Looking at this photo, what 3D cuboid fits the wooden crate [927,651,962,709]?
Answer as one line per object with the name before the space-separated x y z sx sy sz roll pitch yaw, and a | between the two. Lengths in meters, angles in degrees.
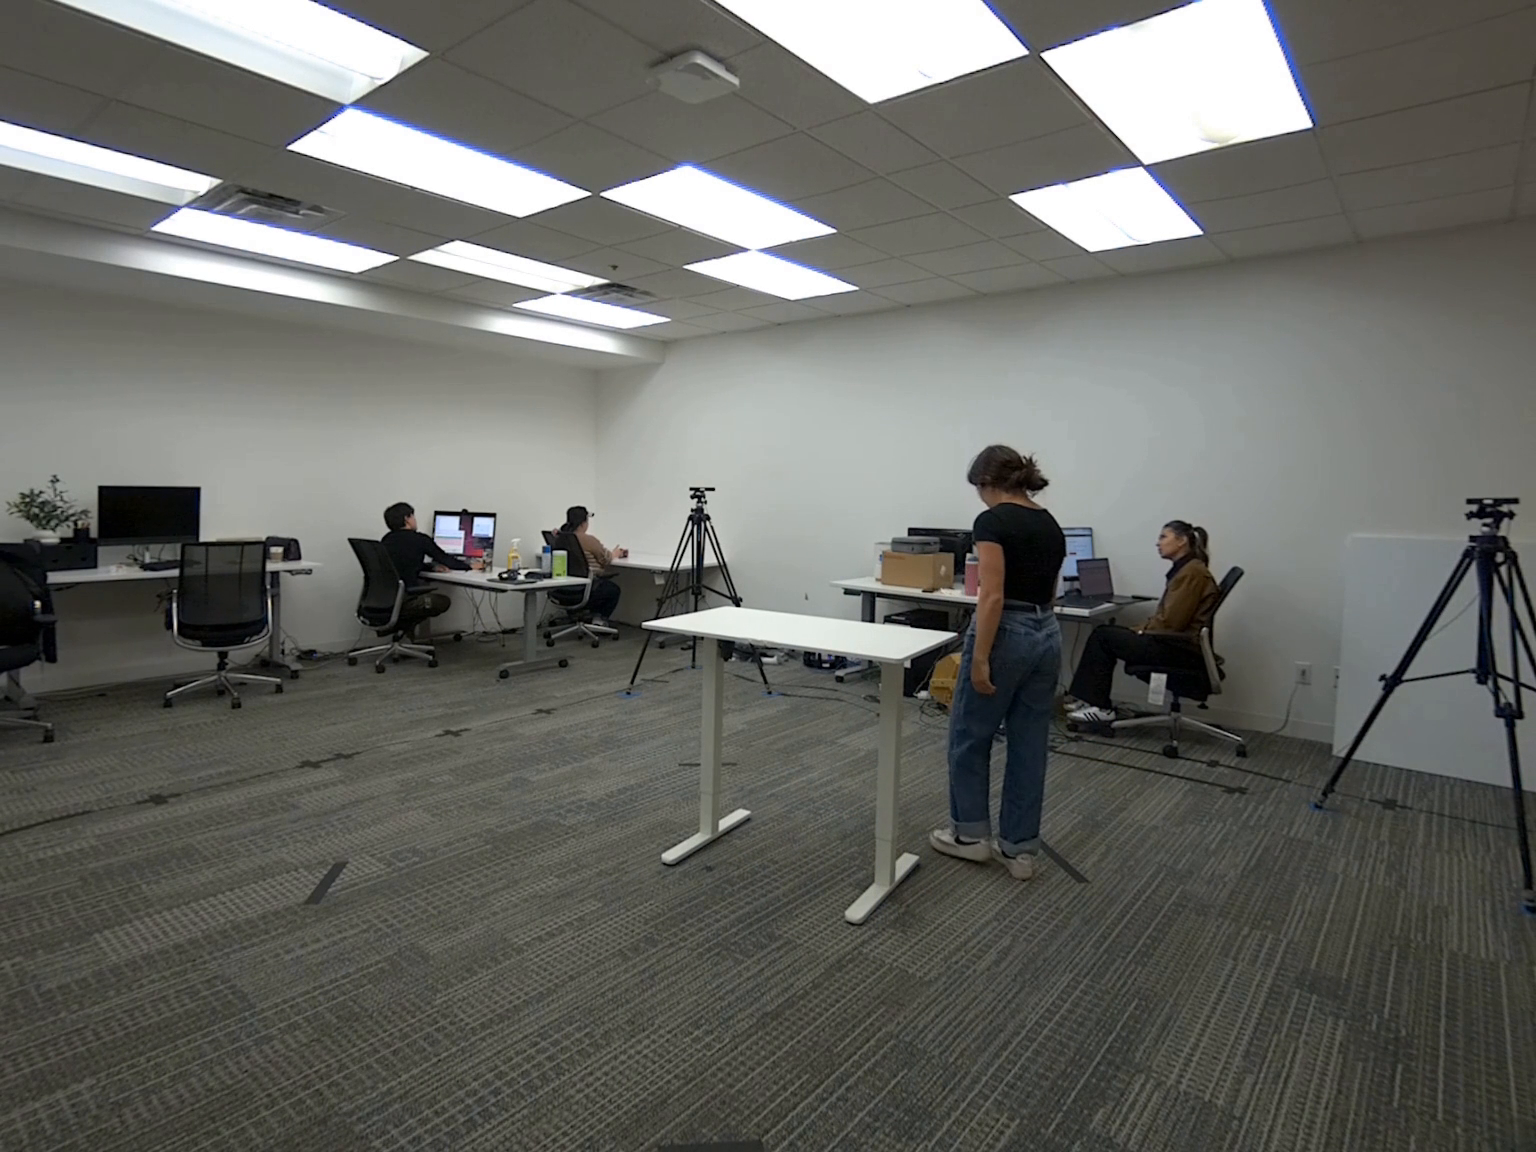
wooden crate | 0.882 0.394 3.545 0.315 0.298 0.285 -4 26 -39
